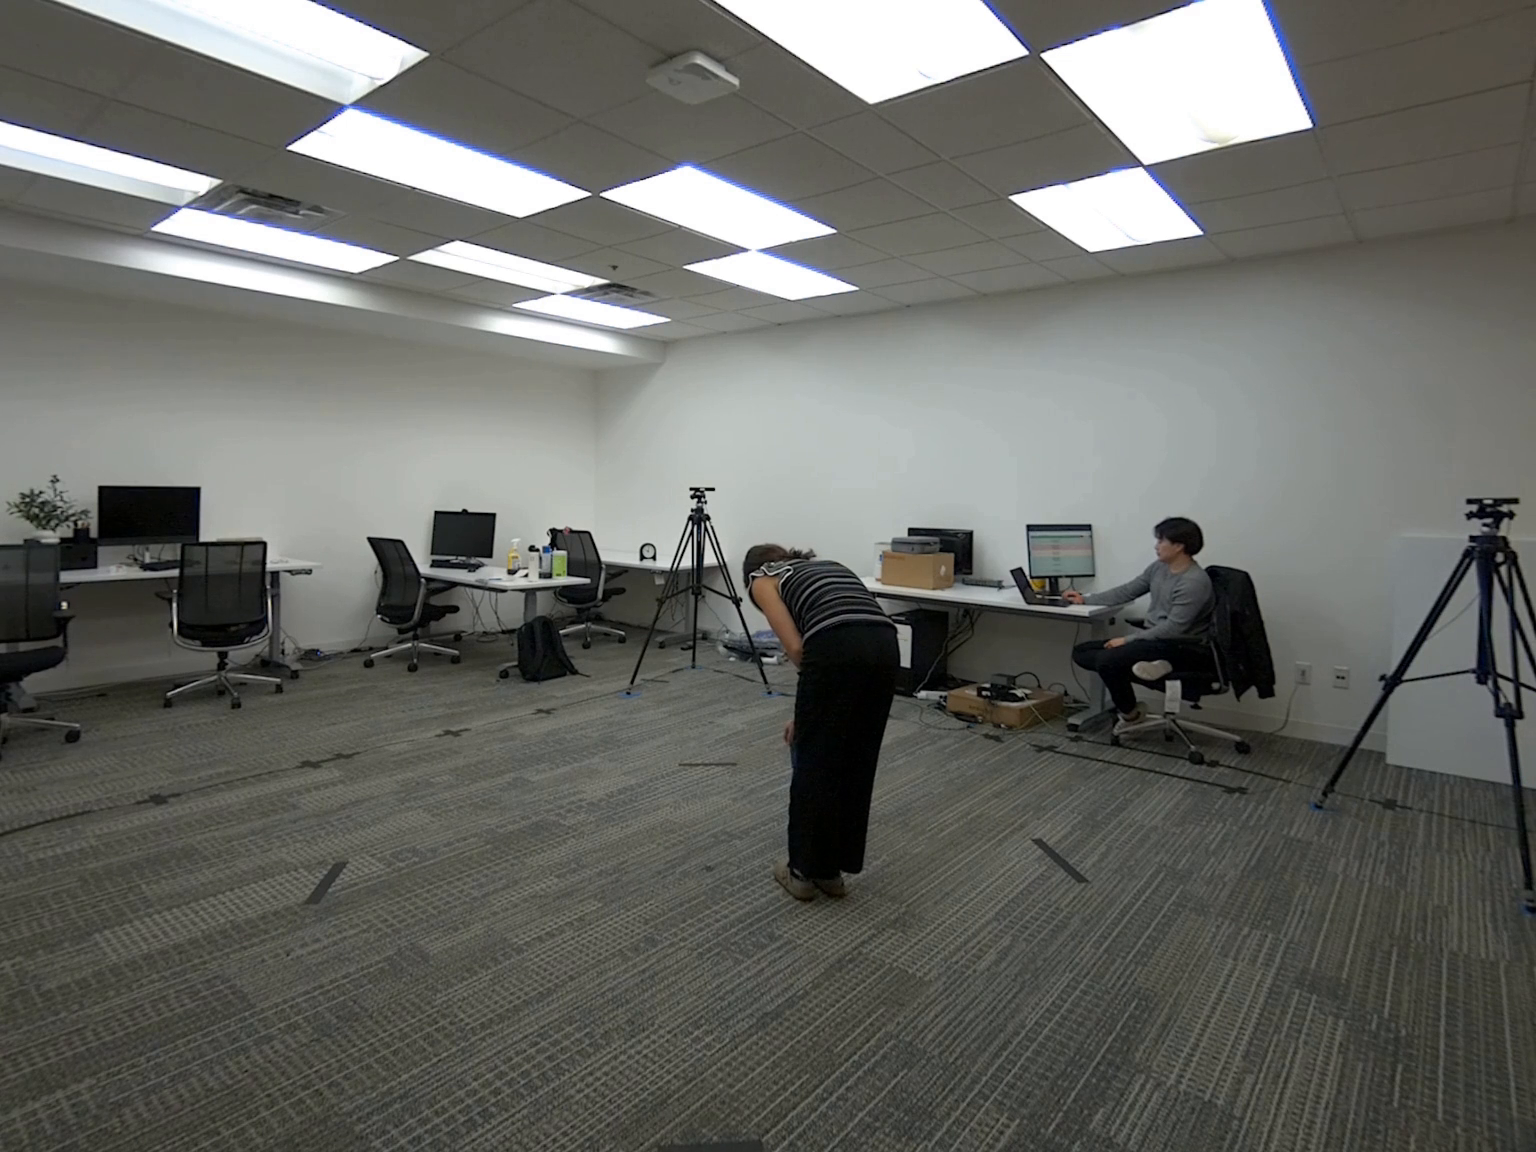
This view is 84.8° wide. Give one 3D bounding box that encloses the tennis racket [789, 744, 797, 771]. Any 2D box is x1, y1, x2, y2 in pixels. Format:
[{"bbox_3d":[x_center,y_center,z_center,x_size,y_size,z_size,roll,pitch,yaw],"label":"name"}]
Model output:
[{"bbox_3d":[0.103,0.835,3.315,0.031,0.439,0.213,-2,-13,-11],"label":"tennis racket"}]
